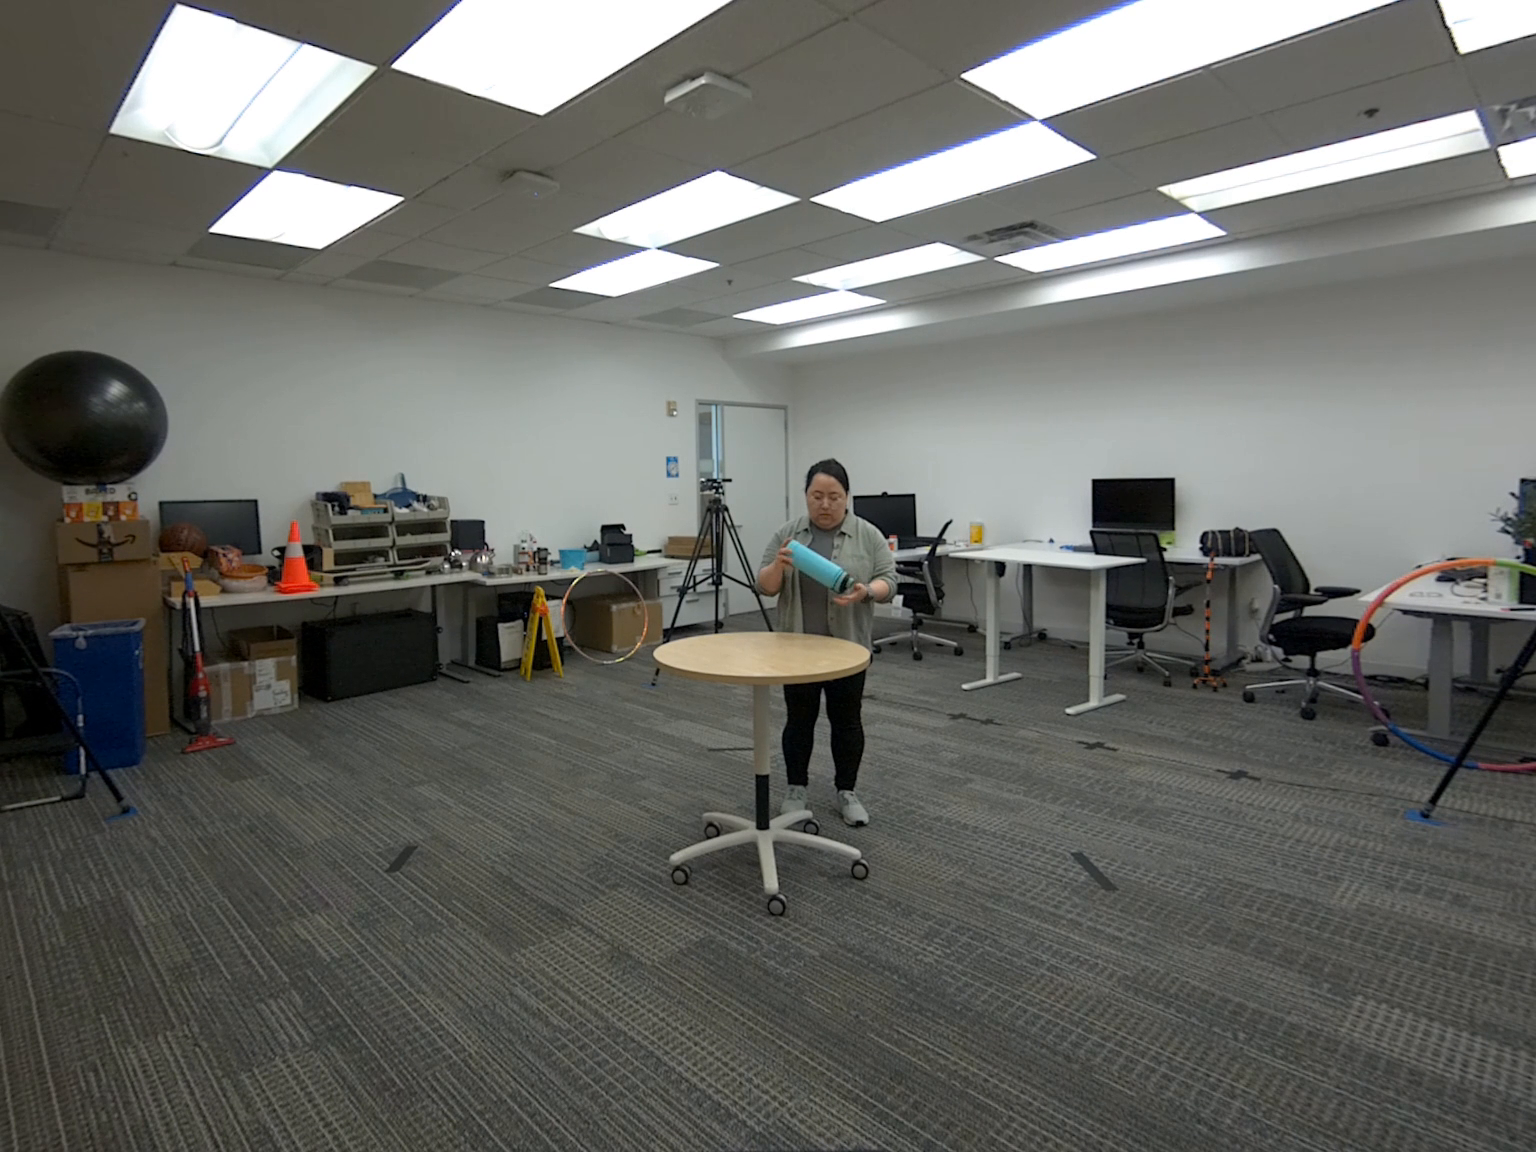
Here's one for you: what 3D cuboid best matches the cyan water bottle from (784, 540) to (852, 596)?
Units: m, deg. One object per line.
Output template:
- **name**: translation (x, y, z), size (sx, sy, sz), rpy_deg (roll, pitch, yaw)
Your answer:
- **cyan water bottle**: translation (0.206, -0.025, 3.260), size (0.290, 0.092, 0.091), rpy_deg (32, 15, 17)
